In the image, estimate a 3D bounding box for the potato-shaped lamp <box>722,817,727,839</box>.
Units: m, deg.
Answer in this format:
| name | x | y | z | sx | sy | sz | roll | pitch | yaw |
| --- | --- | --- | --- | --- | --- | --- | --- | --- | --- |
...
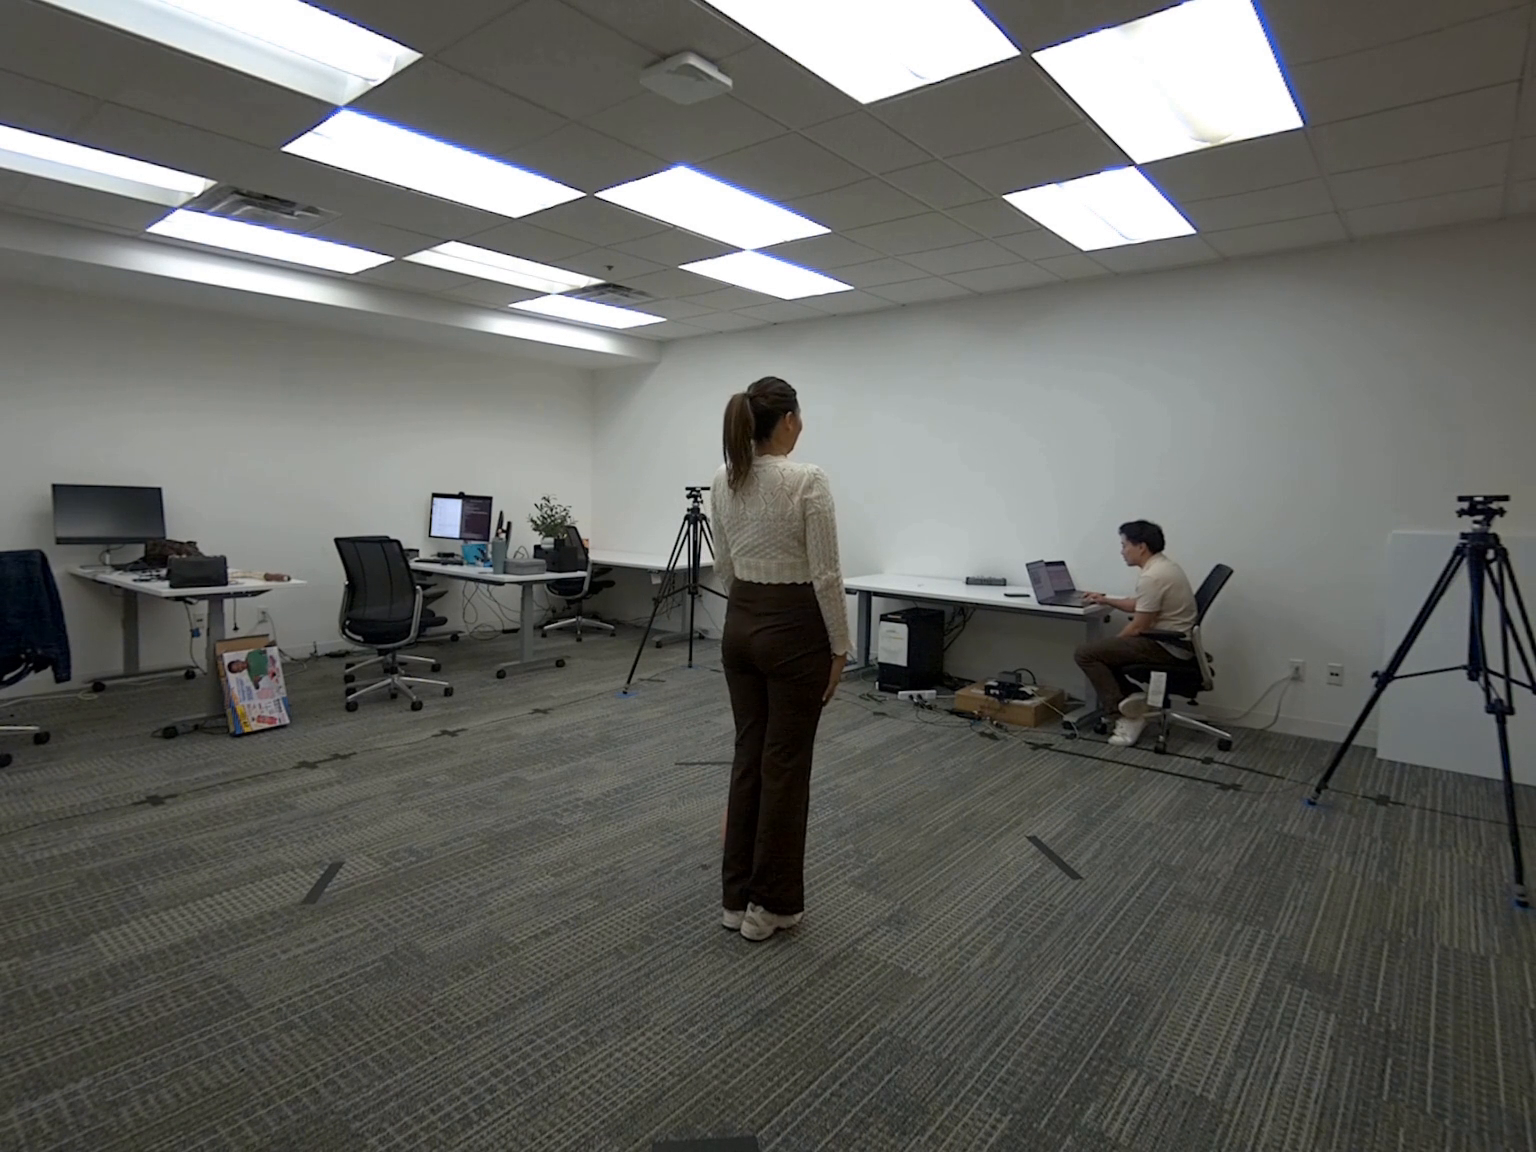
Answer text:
| name | x | y | z | sx | sy | sz | roll | pitch | yaw |
| --- | --- | --- | --- | --- | --- | --- | --- | --- | --- |
| potato-shaped lamp | -0.101 | 0.944 | 3.275 | 0.167 | 0.197 | 0.170 | 1 | 5 | 10 |
